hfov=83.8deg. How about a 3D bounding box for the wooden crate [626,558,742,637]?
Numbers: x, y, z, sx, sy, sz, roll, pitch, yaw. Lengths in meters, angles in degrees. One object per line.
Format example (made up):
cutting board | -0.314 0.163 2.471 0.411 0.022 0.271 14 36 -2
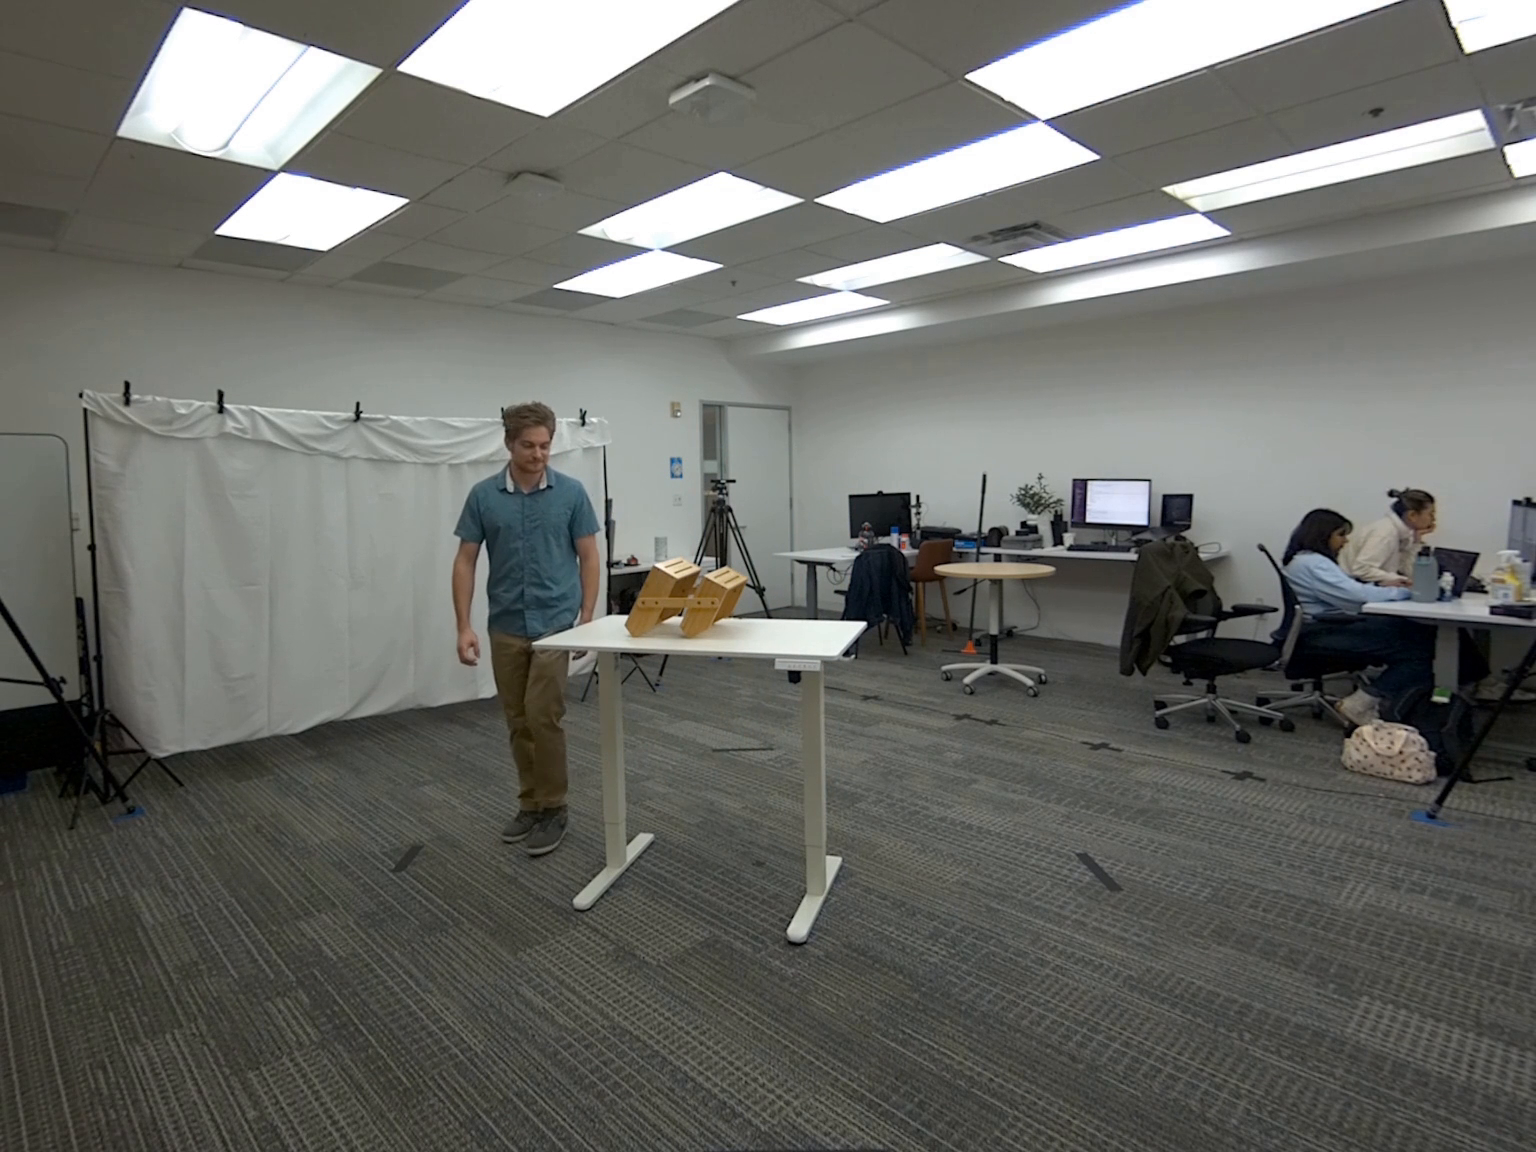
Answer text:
wooden crate | -0.266 0.099 2.932 0.277 0.300 0.321 27 11 10
